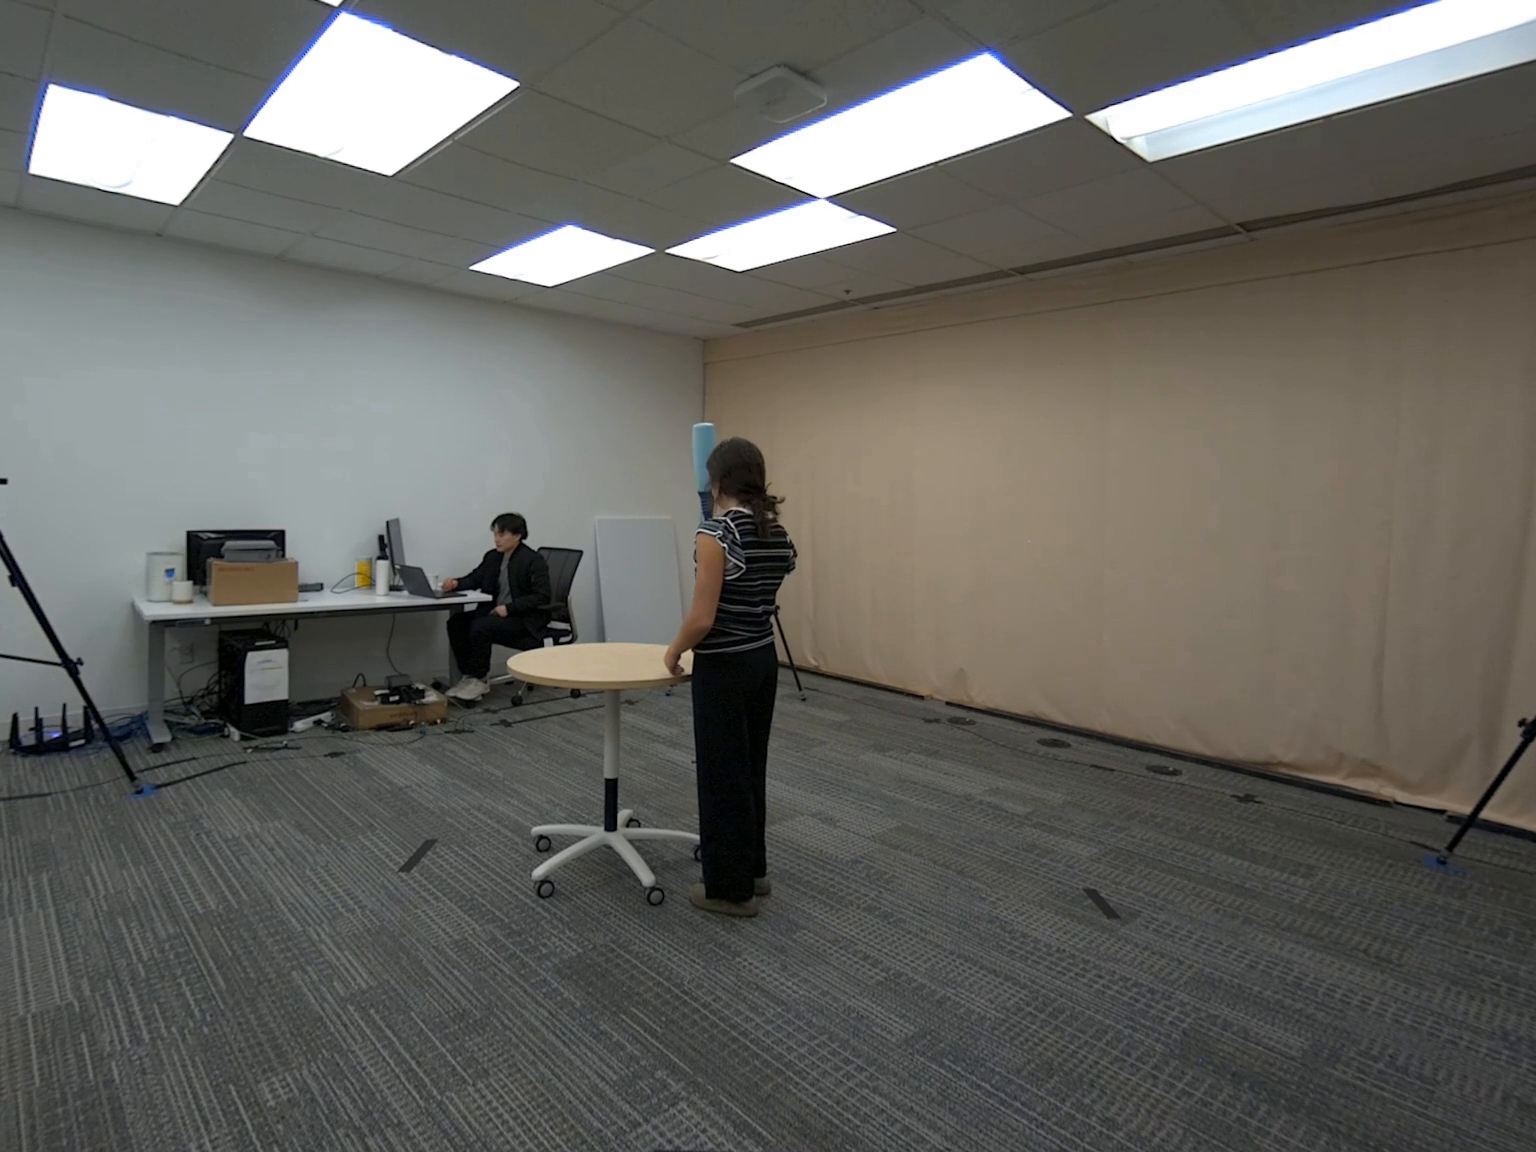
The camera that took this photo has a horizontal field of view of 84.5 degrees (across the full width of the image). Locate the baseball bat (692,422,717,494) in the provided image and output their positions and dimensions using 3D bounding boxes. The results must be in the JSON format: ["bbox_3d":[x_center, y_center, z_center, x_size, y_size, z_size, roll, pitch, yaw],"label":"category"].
[{"bbox_3d":[-0.236,-0.297,3.143,0.089,0.540,0.089,-3,6,-1],"label":"baseball bat"}]
